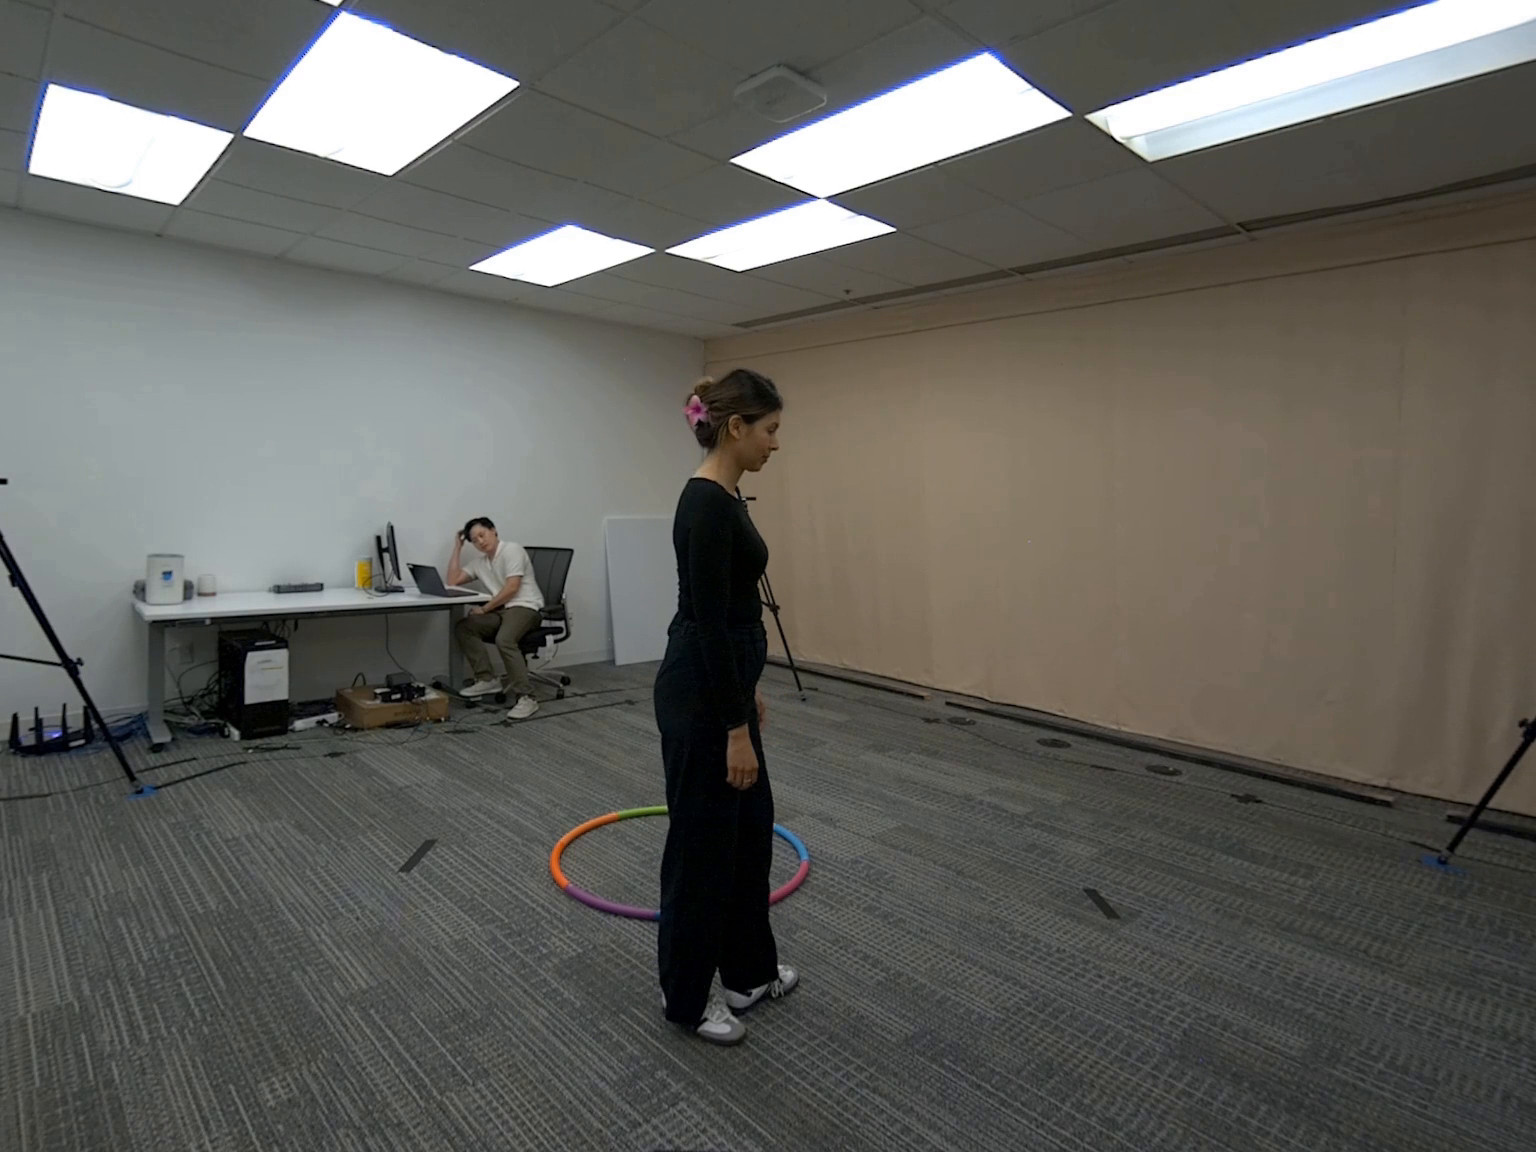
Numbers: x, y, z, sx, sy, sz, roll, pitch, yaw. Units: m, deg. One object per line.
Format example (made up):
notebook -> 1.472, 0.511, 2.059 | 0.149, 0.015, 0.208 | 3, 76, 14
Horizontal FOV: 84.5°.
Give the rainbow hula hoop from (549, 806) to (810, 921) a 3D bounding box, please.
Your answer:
rainbow hula hoop -> -0.339, 1.061, 3.239 | 0.978, 0.035, 0.982 | 2, 5, -1
